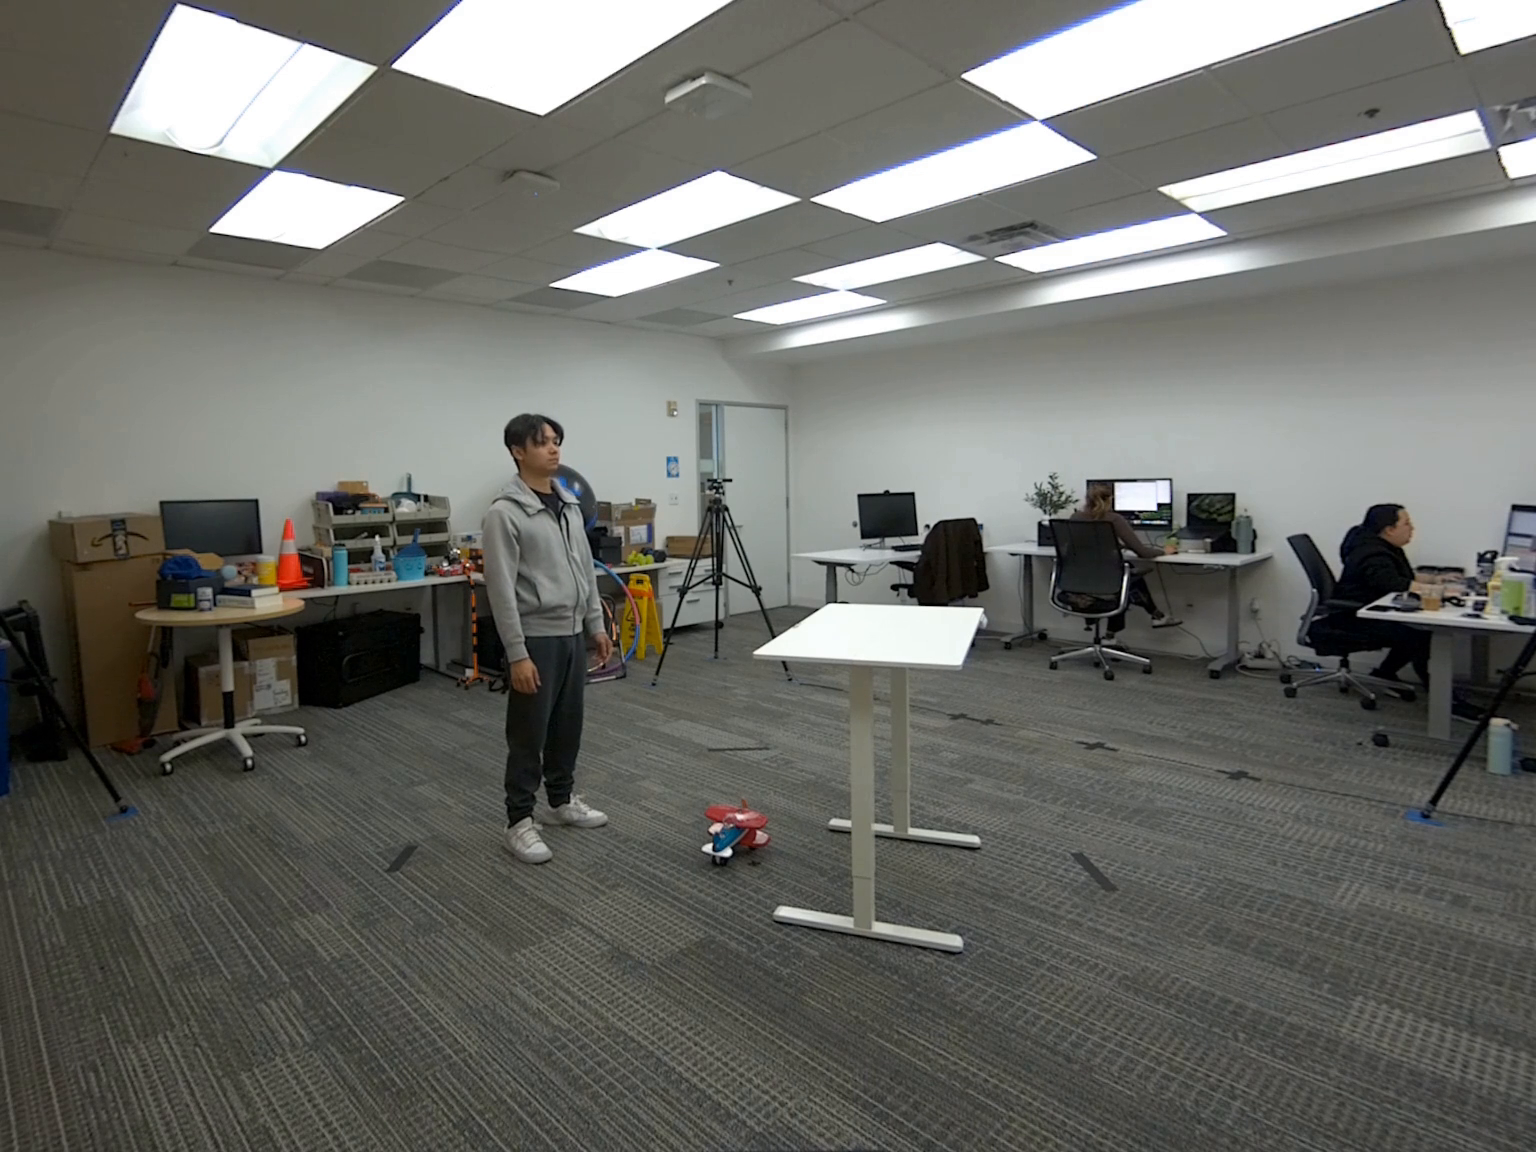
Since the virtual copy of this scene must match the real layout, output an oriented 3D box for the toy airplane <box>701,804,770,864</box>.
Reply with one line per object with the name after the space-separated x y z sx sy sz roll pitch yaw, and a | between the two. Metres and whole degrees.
-0.115 0.958 3.162 0.251 0.156 0.259 0 4 1 | toy airplane
